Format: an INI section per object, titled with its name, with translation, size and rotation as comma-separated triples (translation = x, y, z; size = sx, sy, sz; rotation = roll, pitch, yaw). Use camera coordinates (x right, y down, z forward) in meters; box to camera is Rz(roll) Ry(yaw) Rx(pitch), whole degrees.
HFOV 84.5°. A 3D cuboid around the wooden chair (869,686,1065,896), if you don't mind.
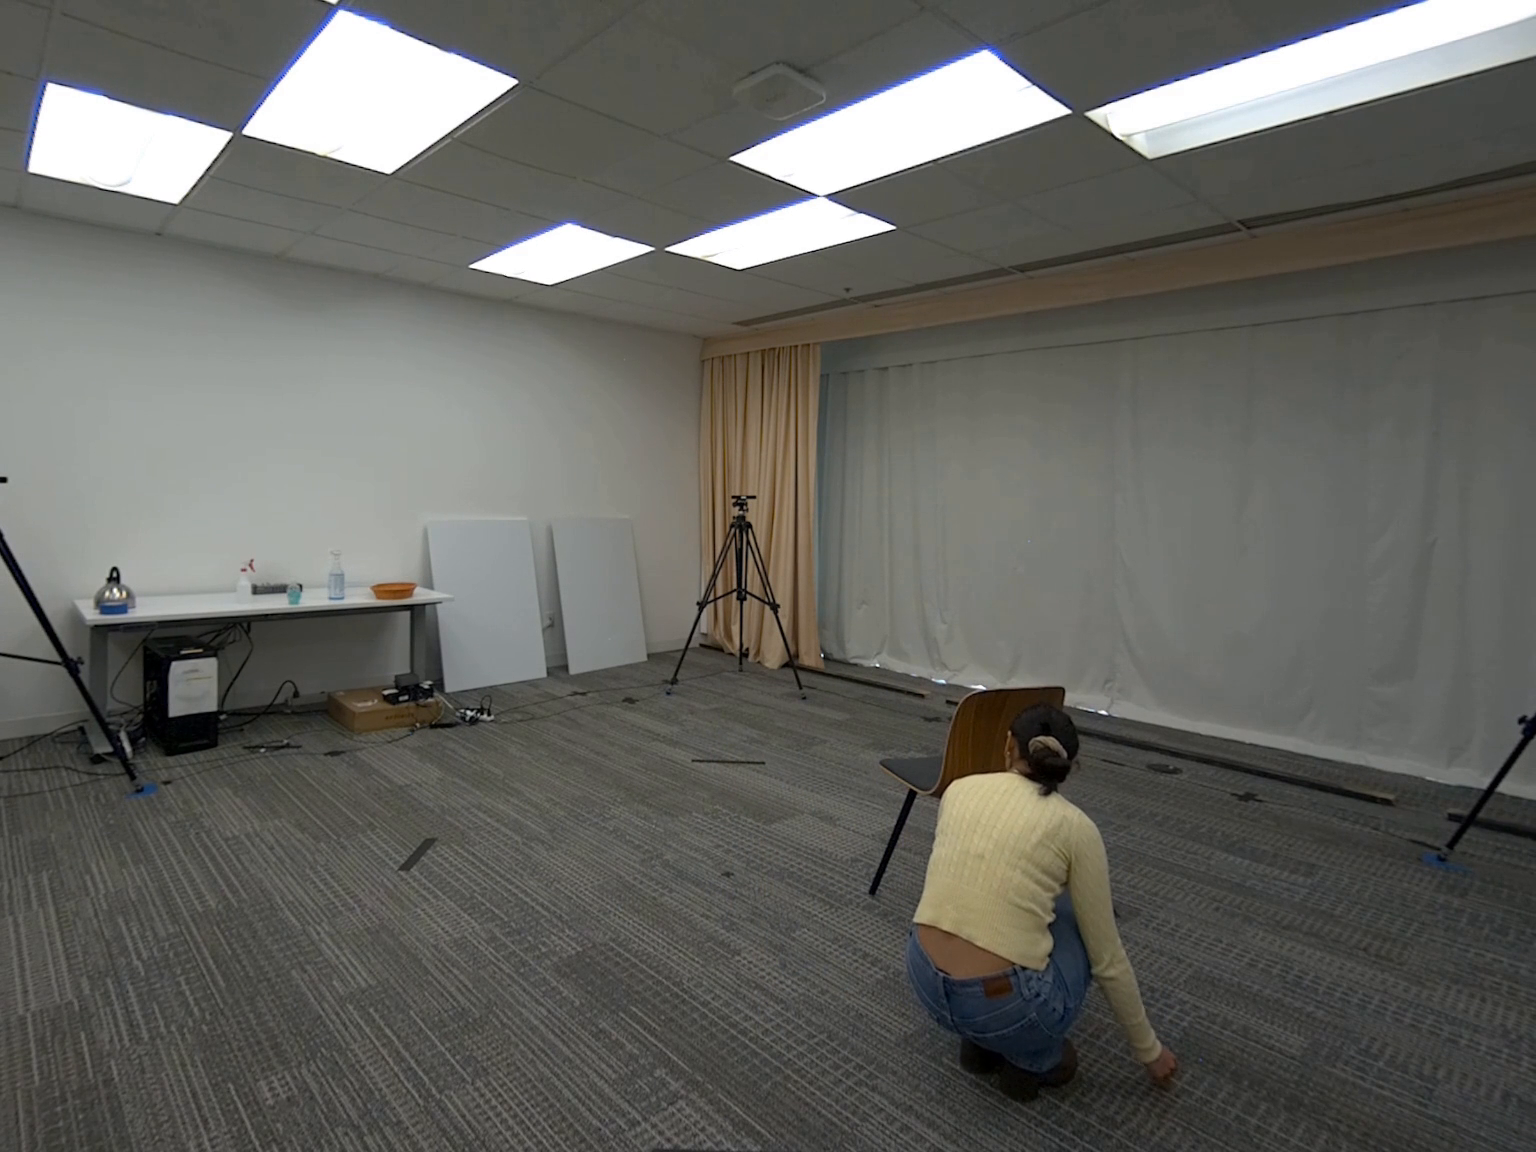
[wooden chair]
translation = 0.648, 0.720, 2.815
size = 0.470, 0.872, 0.534
rotation = 0, 9, -22
